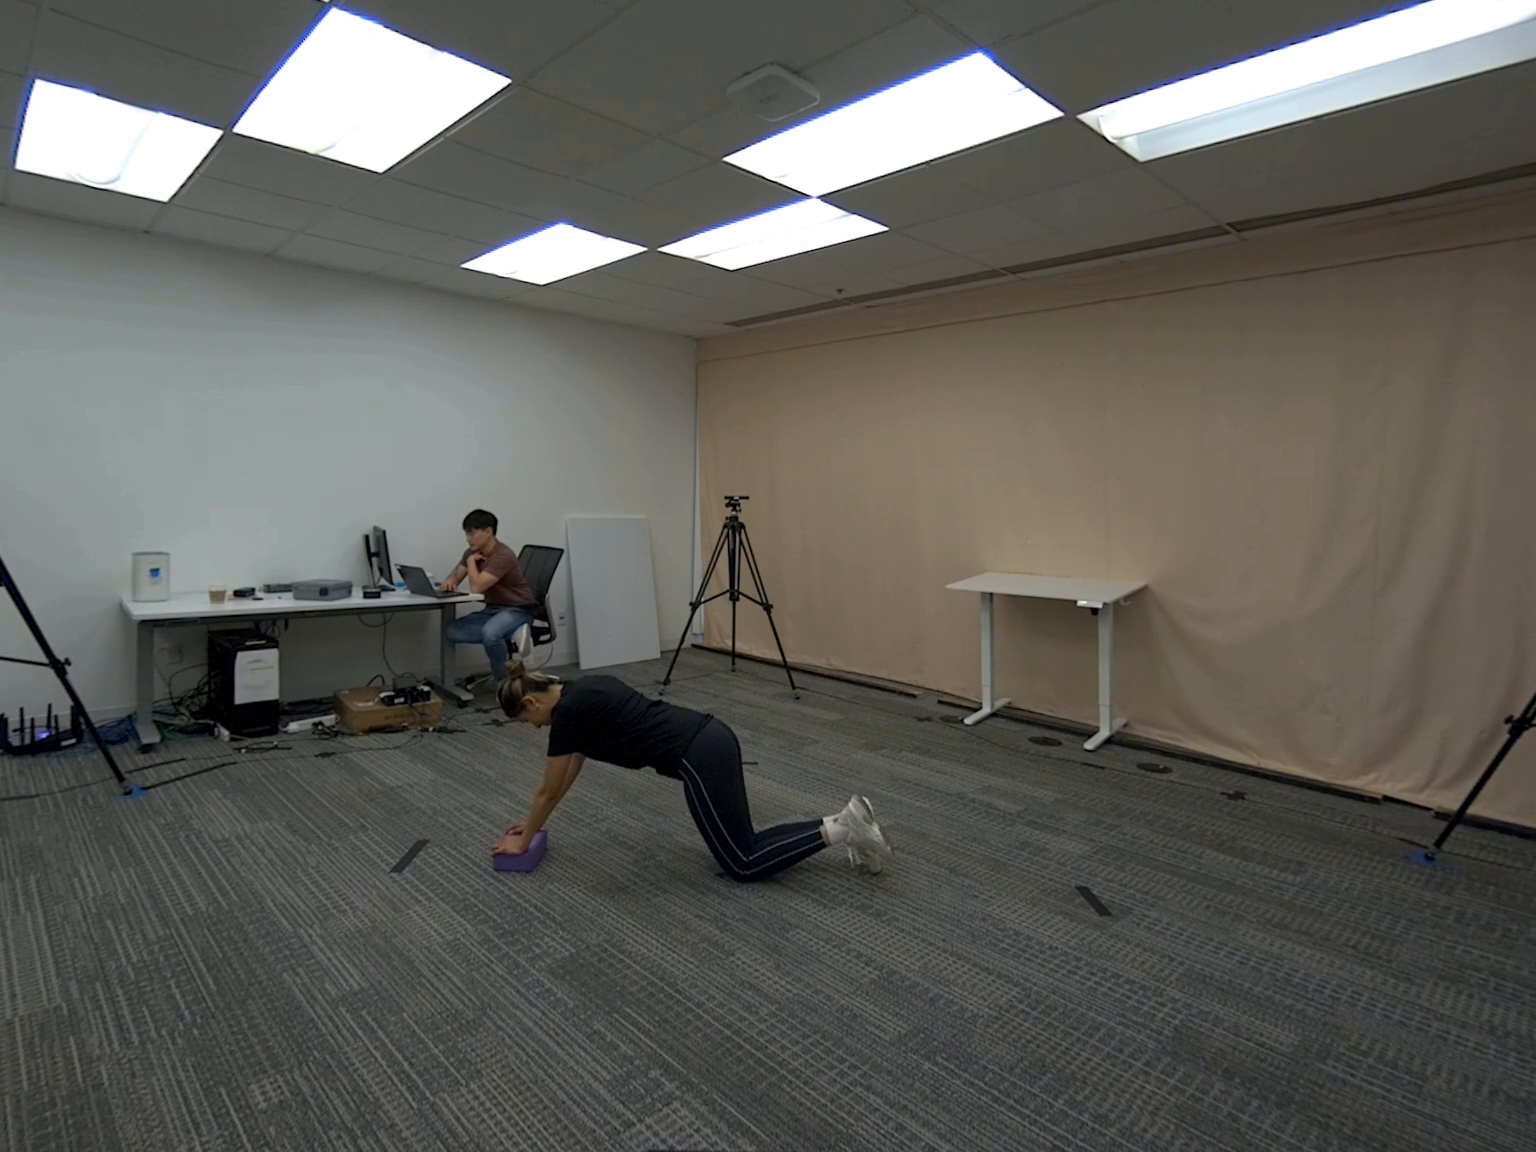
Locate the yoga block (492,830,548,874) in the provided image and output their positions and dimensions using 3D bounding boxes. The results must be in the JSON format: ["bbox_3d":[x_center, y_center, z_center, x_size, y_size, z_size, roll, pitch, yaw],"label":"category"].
[{"bbox_3d":[-0.938,1.032,3.199,0.149,0.076,0.229,-2,4,1],"label":"yoga block"}]
